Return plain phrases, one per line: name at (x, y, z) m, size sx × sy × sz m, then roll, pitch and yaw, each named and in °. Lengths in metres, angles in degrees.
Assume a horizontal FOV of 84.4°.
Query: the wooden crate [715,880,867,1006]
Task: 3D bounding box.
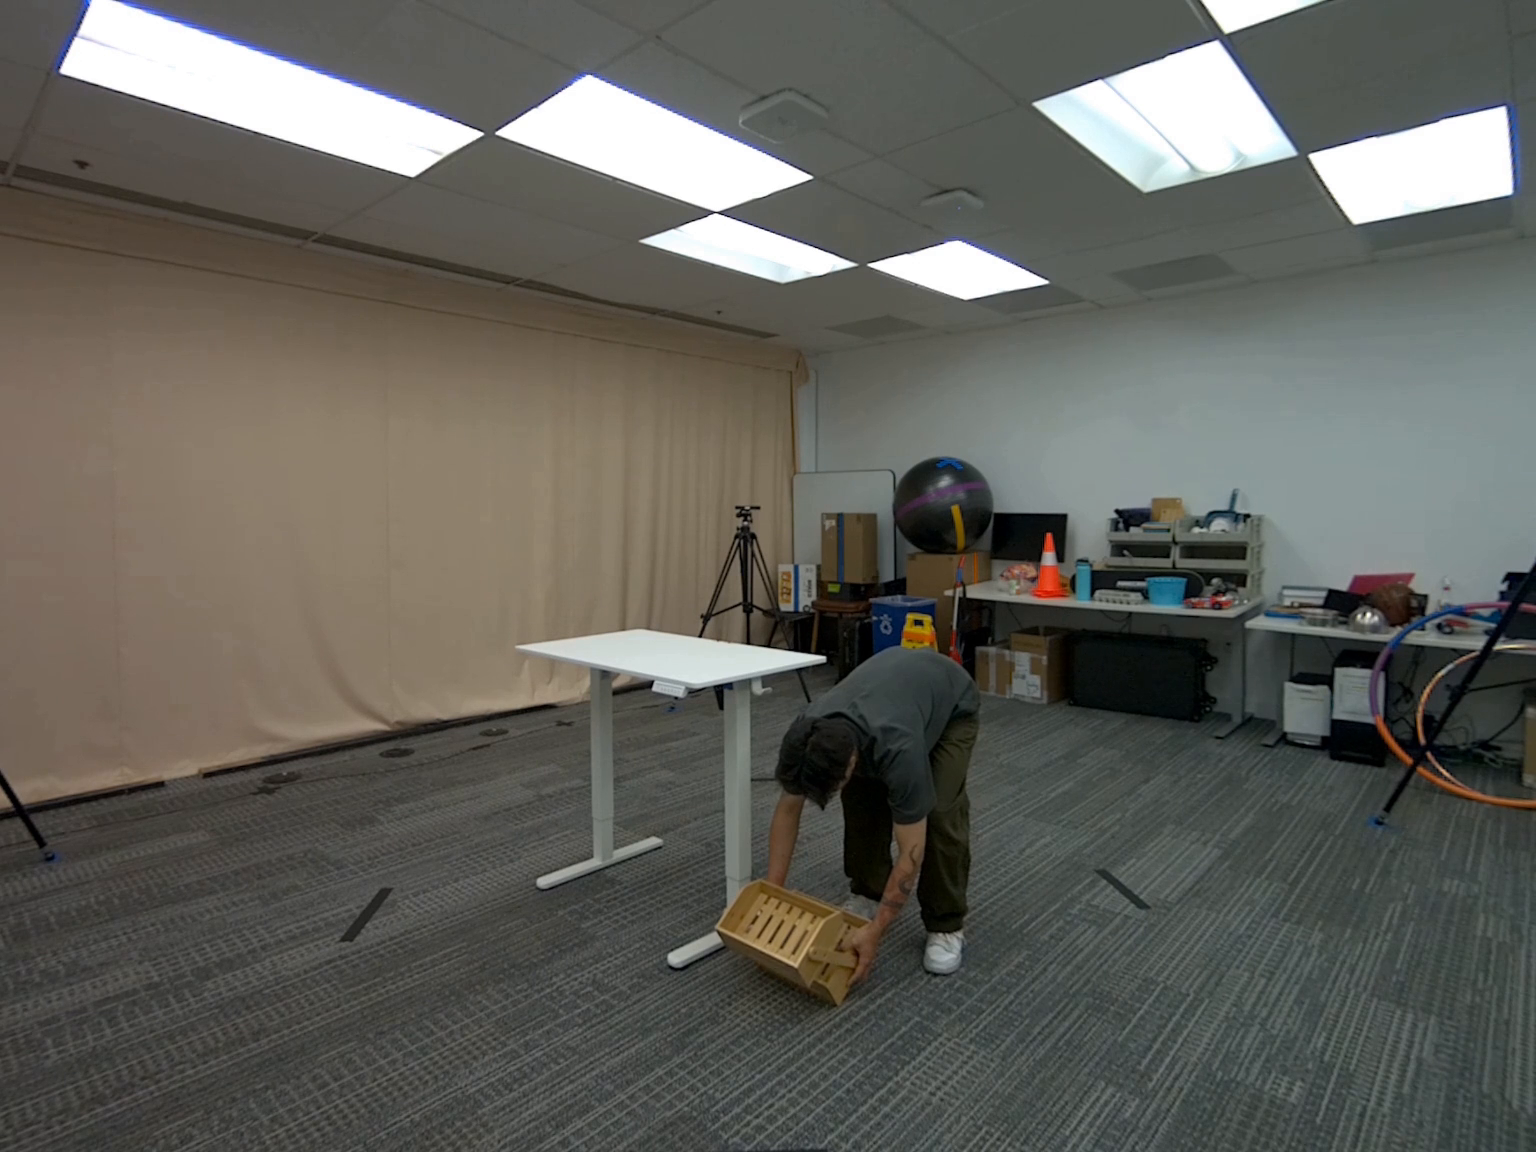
wooden crate at (0.098, 1.033, 2.429) m, size 0.335 × 0.267 × 0.299 m, roll 2°, pitch 38°, yaw 42°
